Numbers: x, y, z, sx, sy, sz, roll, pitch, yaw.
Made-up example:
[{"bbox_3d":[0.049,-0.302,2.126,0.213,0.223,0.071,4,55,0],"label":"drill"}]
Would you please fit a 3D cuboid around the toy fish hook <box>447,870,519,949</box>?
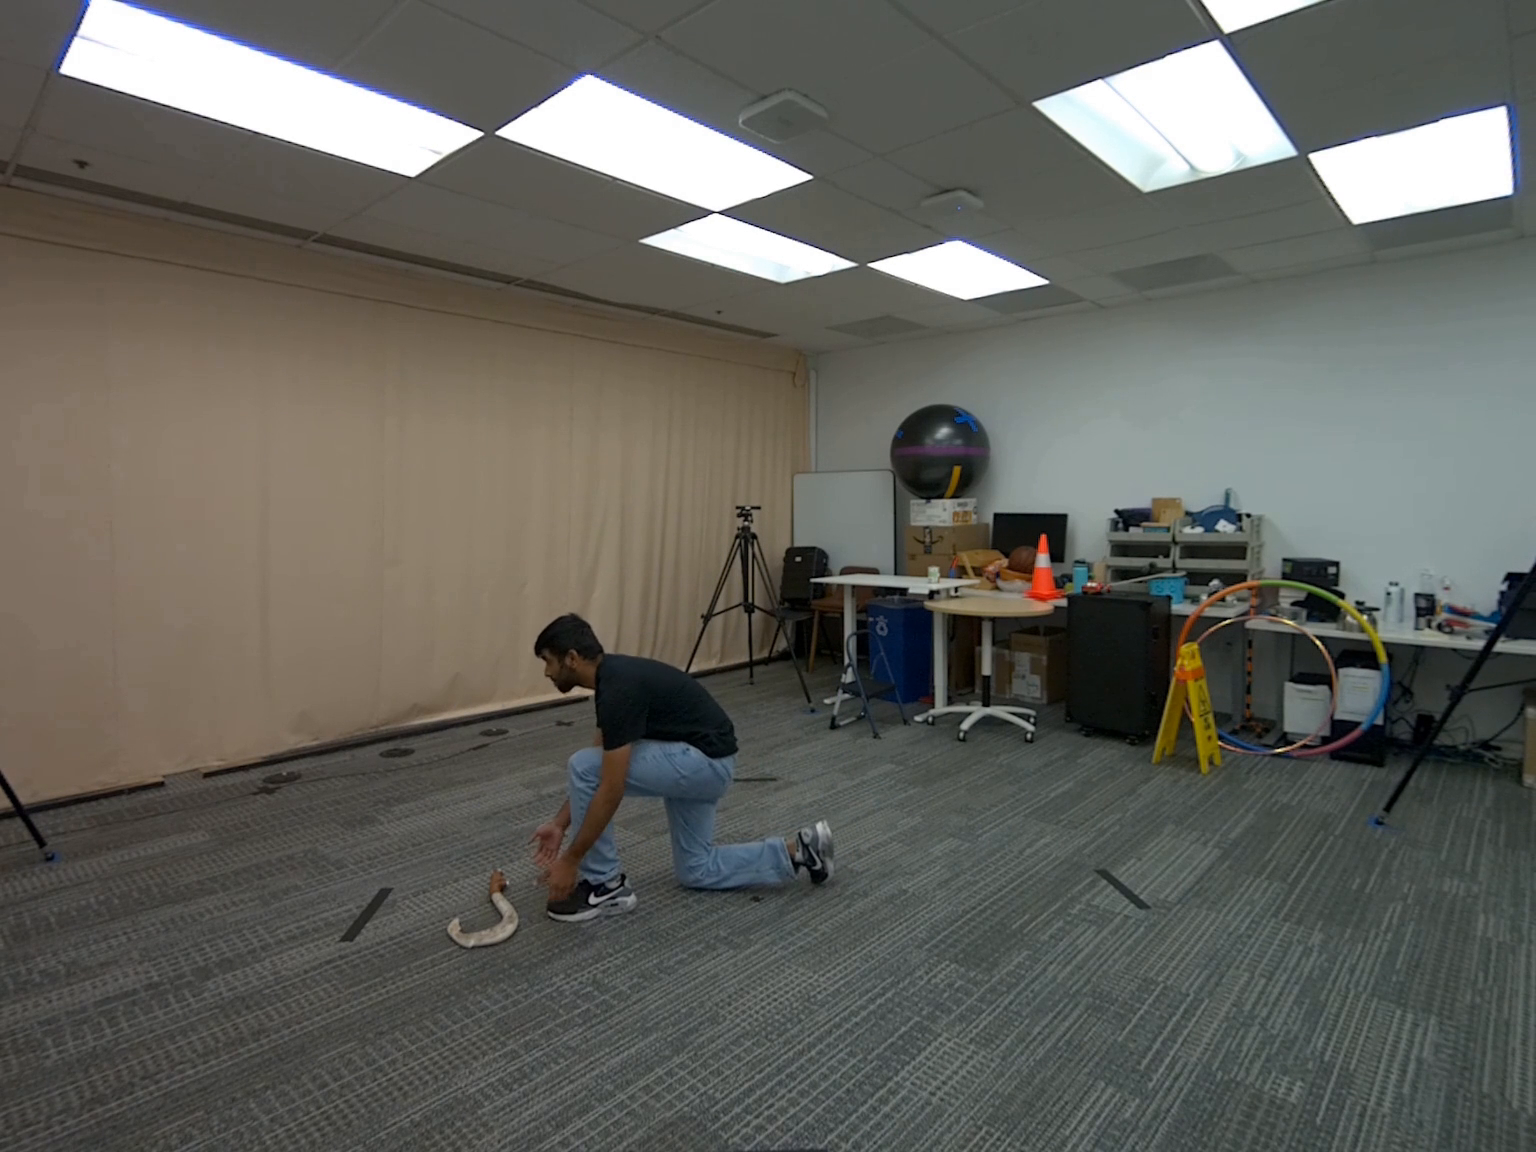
[{"bbox_3d":[-0.977,1.135,2.903,0.220,0.048,0.517,-1,4,-19],"label":"toy fish hook"}]
